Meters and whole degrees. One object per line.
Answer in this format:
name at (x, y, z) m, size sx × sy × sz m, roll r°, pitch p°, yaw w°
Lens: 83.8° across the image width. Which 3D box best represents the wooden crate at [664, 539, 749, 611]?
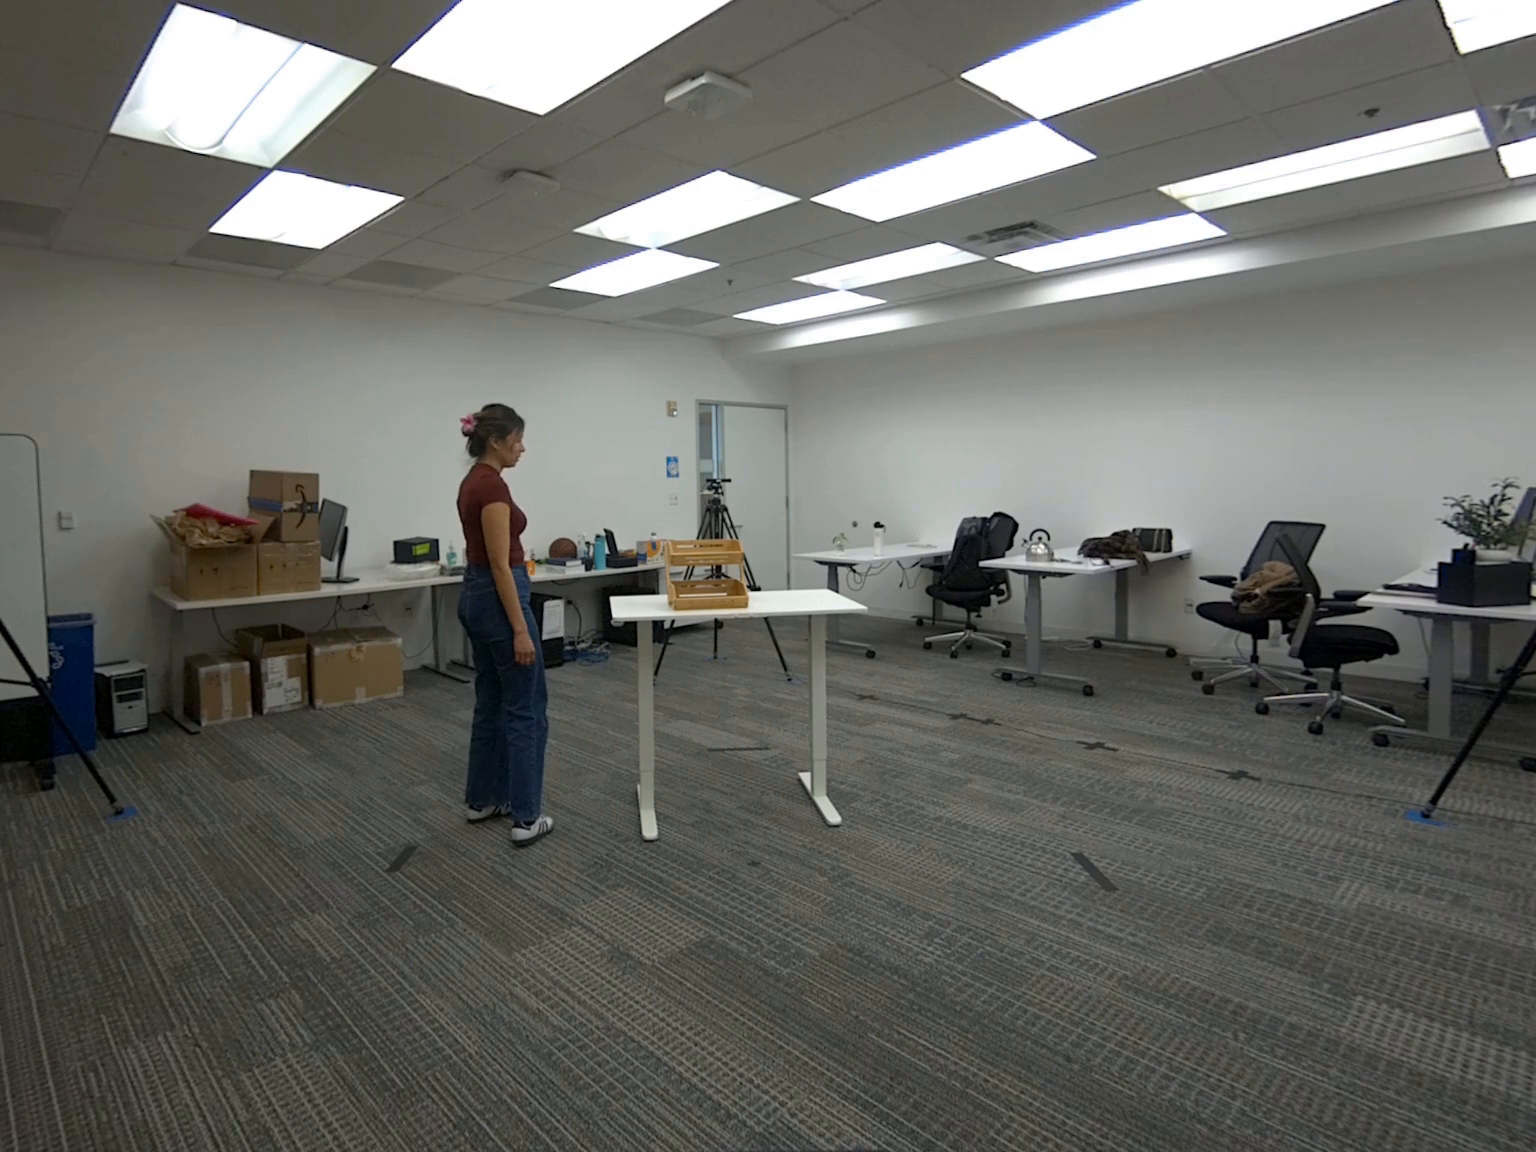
wooden crate at (-0.260, -0.014, 3.524) m, size 0.321 × 0.272 × 0.306 m, roll -1°, pitch 4°, yaw -12°
